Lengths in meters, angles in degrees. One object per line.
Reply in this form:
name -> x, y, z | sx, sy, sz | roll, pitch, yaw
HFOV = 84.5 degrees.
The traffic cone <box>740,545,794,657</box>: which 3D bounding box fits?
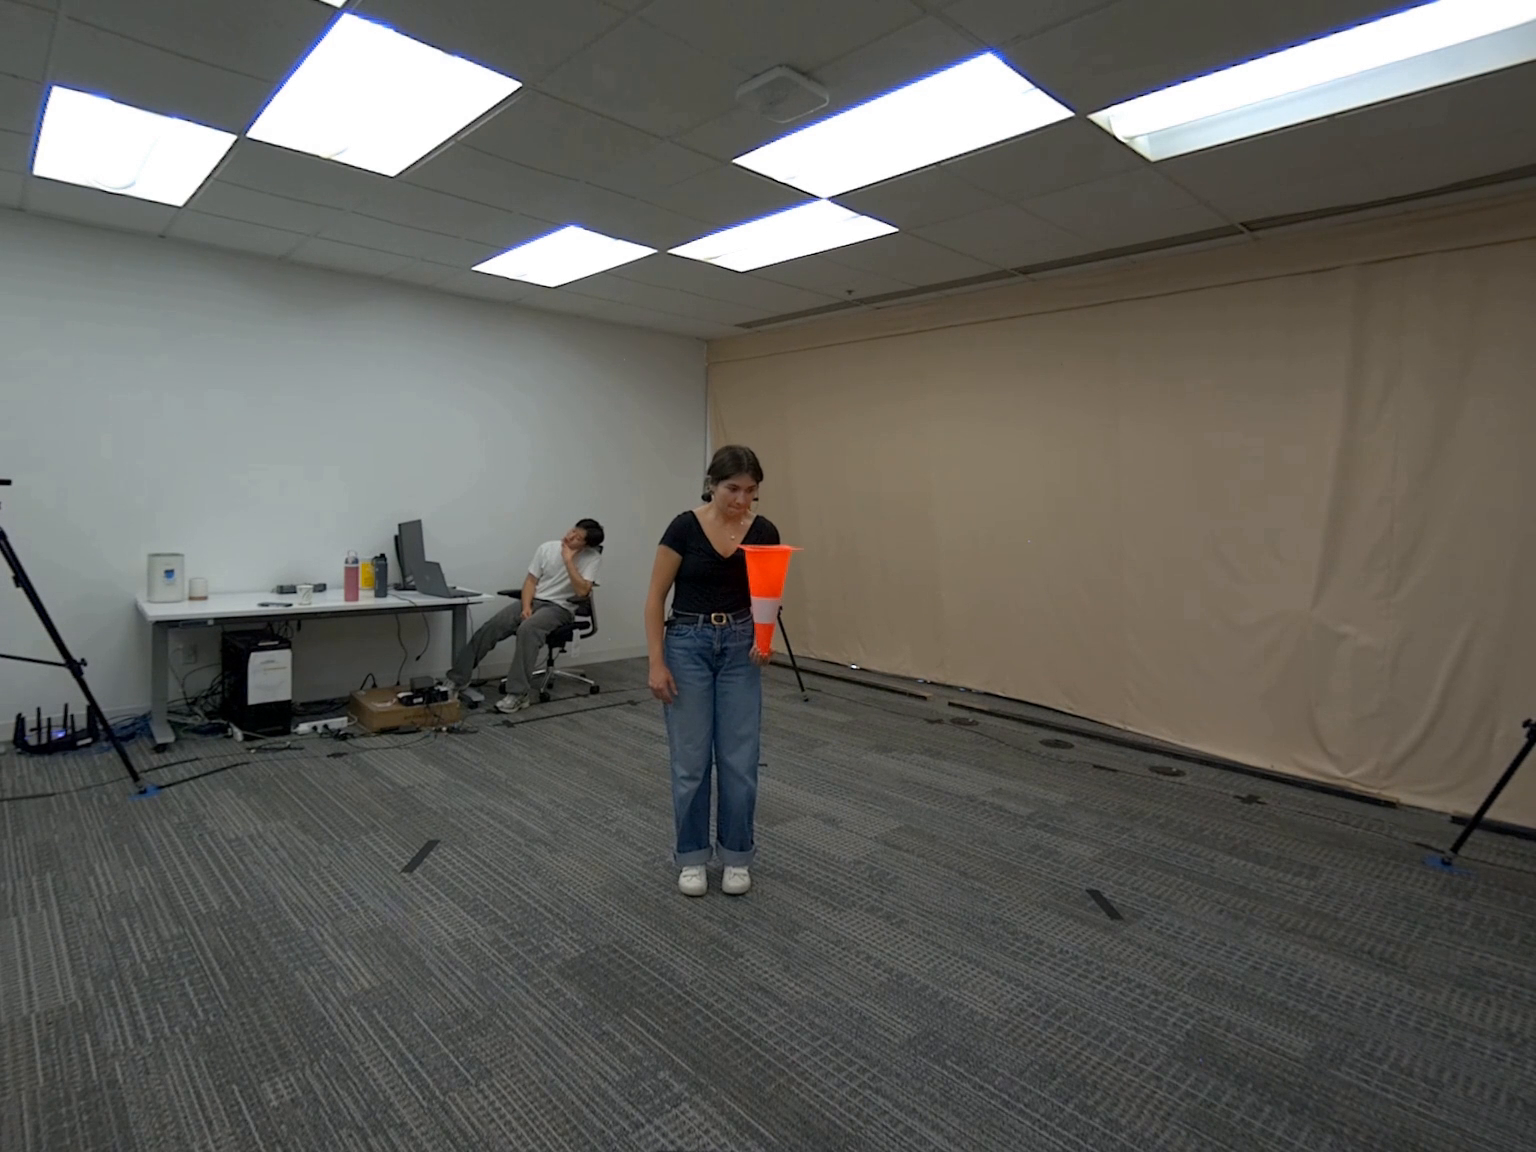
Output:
traffic cone -> -0.026, 0.100, 2.861 | 0.202, 0.383, 0.206 | 5, 2, -15
